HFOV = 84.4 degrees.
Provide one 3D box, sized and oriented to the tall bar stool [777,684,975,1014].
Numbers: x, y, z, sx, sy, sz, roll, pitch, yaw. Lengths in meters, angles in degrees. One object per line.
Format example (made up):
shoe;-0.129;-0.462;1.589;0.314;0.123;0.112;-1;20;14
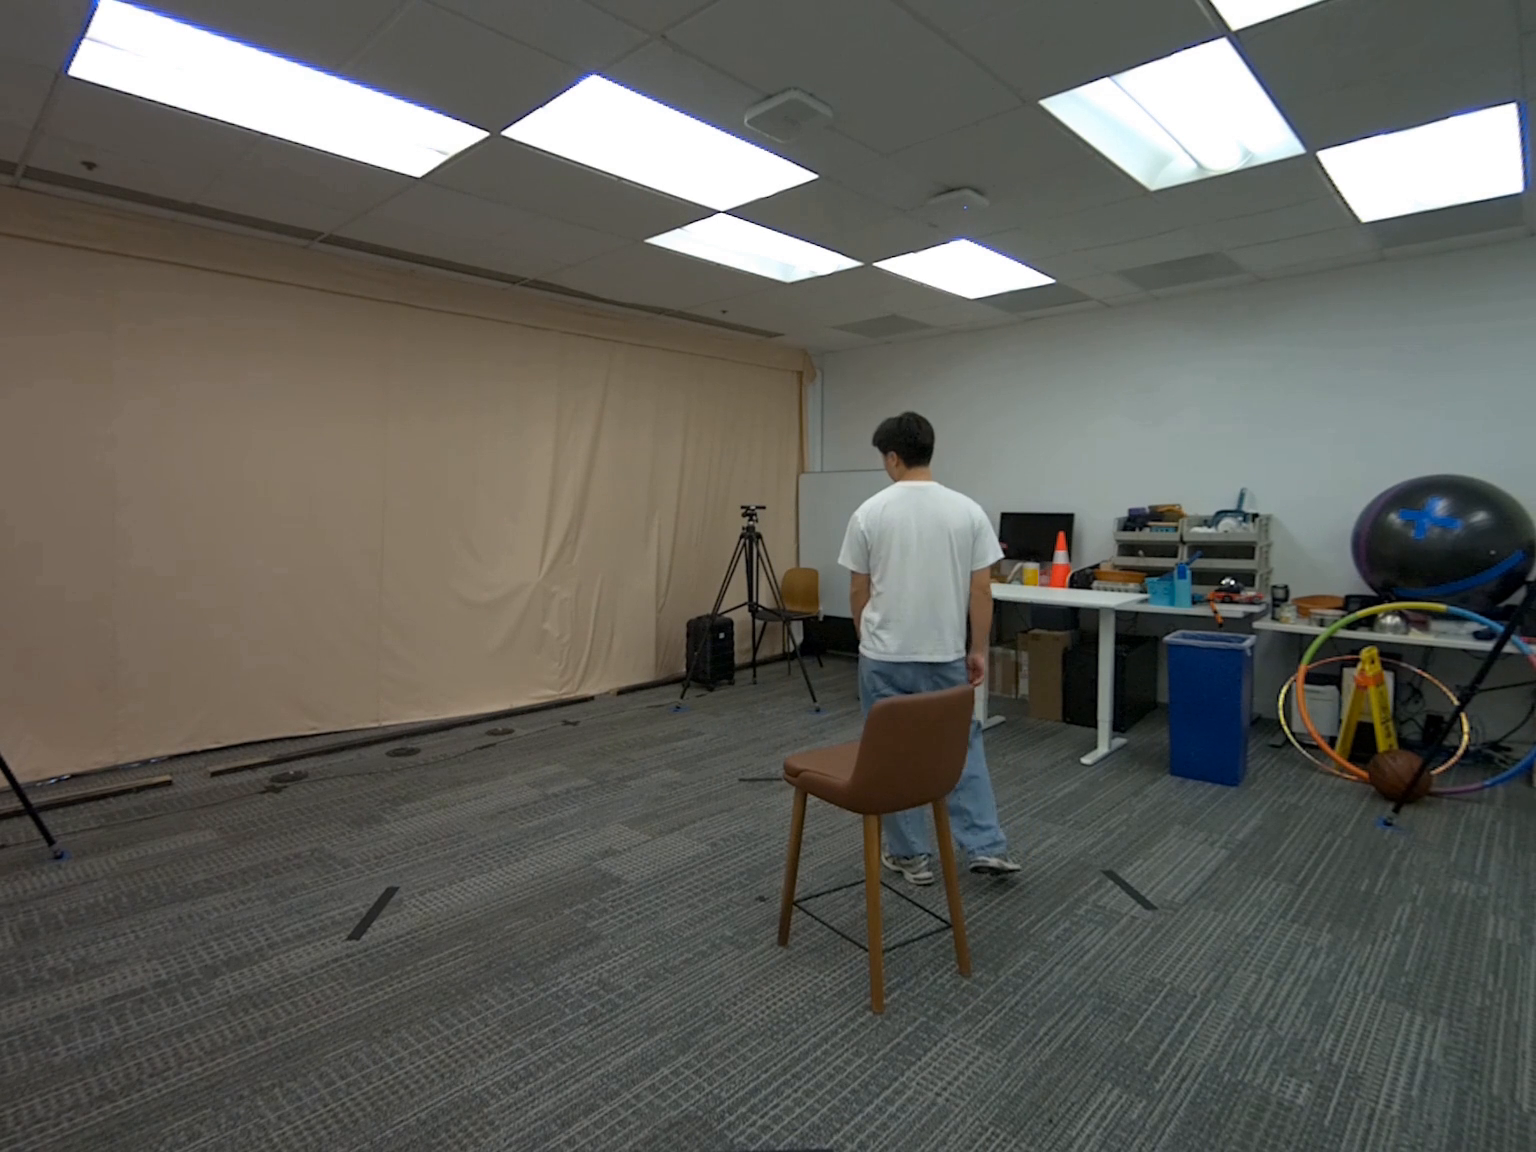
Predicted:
tall bar stool;0.330;0.743;2.557;0.443;0.887;0.483;-3;6;-34
